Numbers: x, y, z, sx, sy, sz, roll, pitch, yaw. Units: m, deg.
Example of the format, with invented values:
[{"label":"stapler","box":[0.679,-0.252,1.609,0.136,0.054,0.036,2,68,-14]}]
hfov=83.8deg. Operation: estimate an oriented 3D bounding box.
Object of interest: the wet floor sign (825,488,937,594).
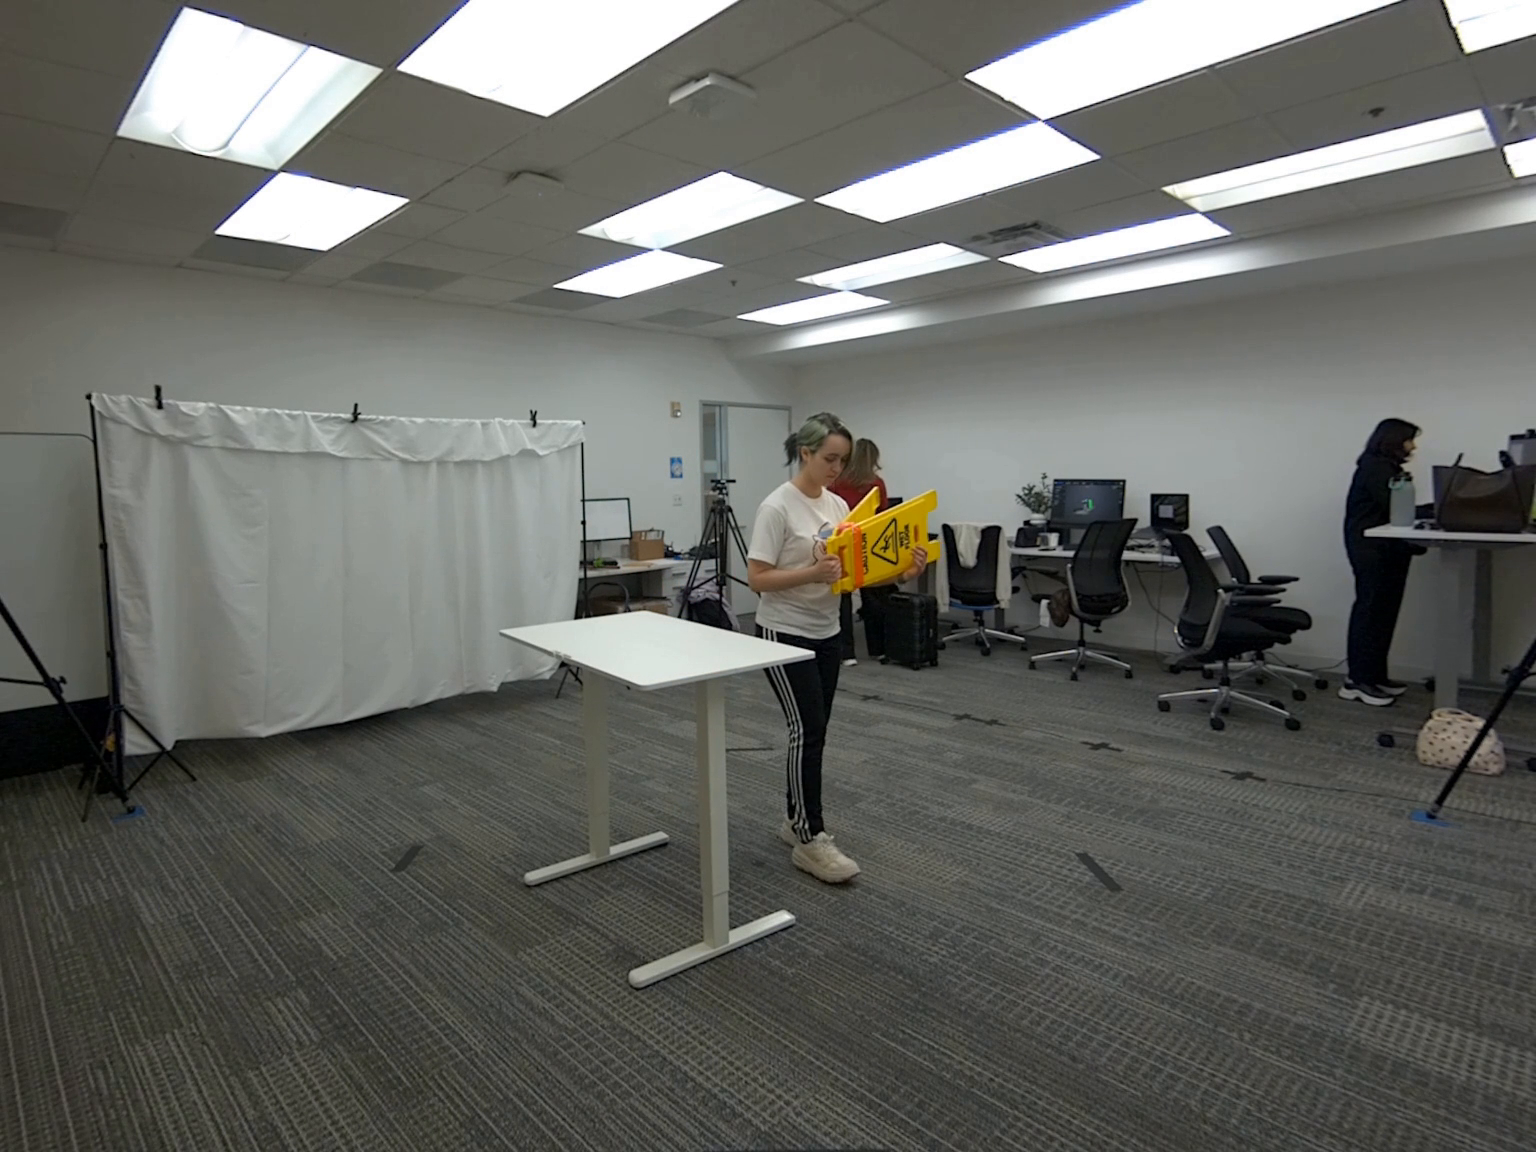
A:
[{"label":"wet floor sign","box":[0.386,-0.121,3.159,0.298,0.278,0.637,3,19,33]}]
